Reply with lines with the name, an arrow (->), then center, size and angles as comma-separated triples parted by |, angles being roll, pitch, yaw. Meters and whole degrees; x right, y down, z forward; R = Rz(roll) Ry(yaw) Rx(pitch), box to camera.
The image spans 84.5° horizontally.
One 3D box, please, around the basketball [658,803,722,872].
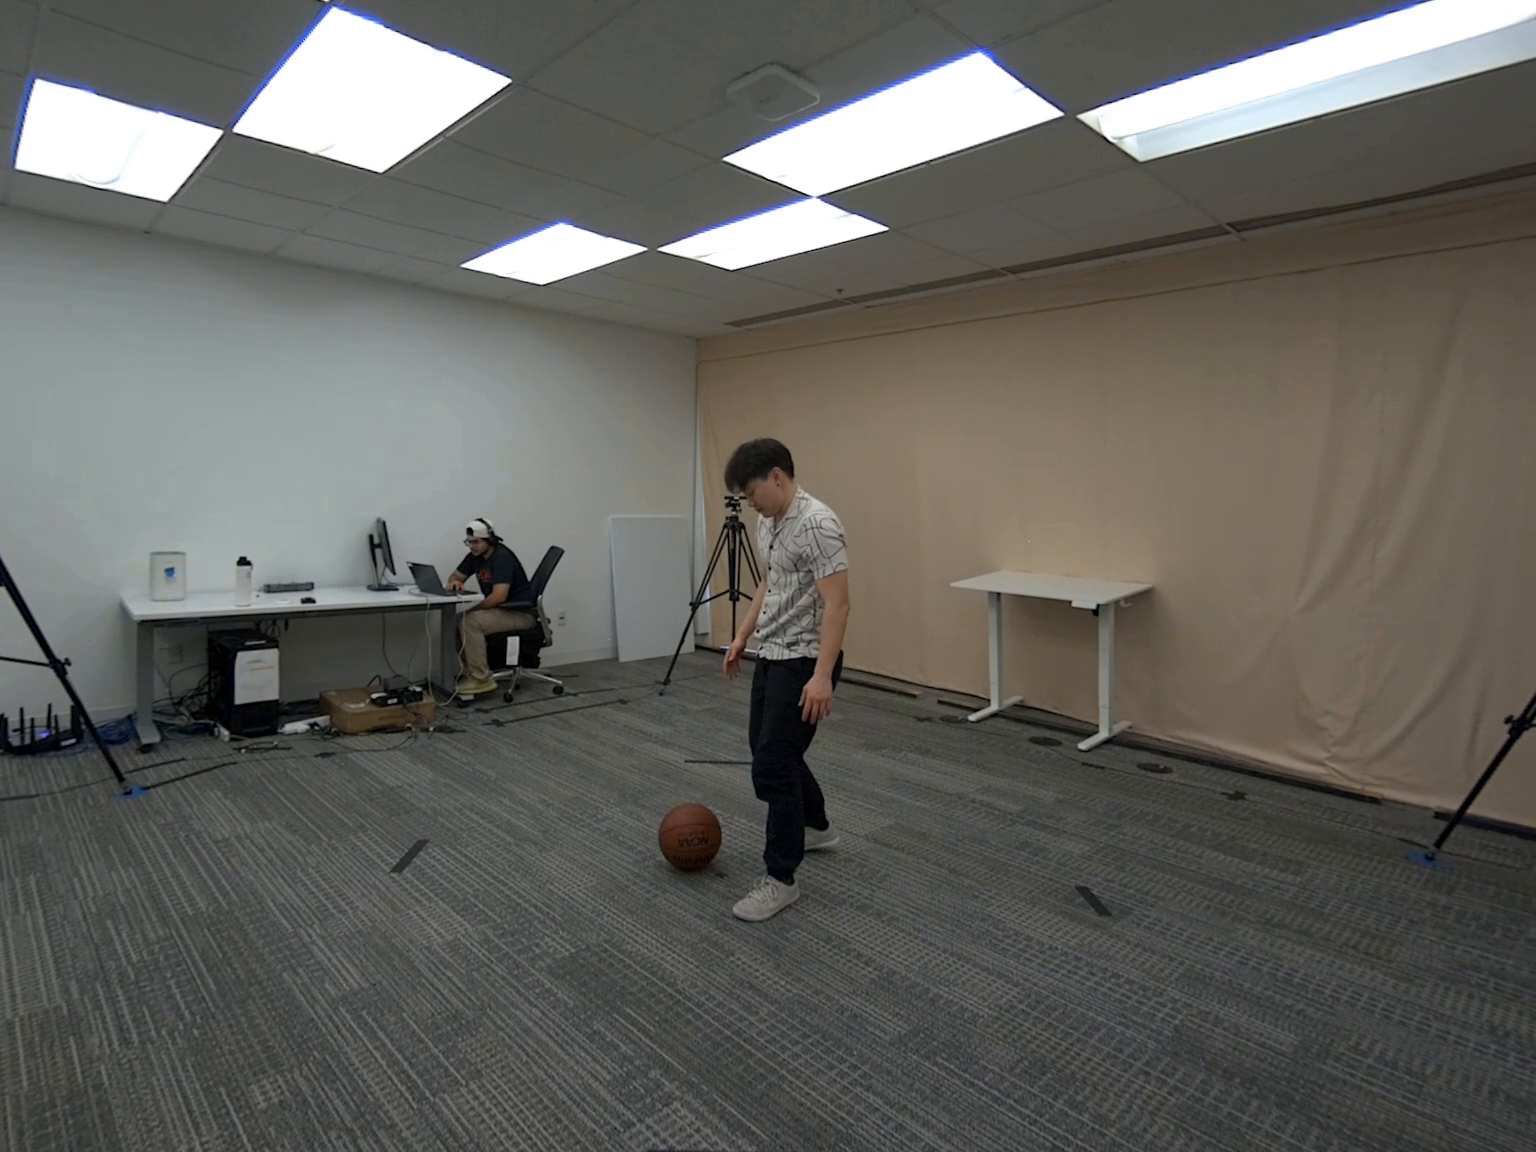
basketball -> -0.298, 0.973, 3.154 | 0.236, 0.235, 0.237 | 1, 4, -1
